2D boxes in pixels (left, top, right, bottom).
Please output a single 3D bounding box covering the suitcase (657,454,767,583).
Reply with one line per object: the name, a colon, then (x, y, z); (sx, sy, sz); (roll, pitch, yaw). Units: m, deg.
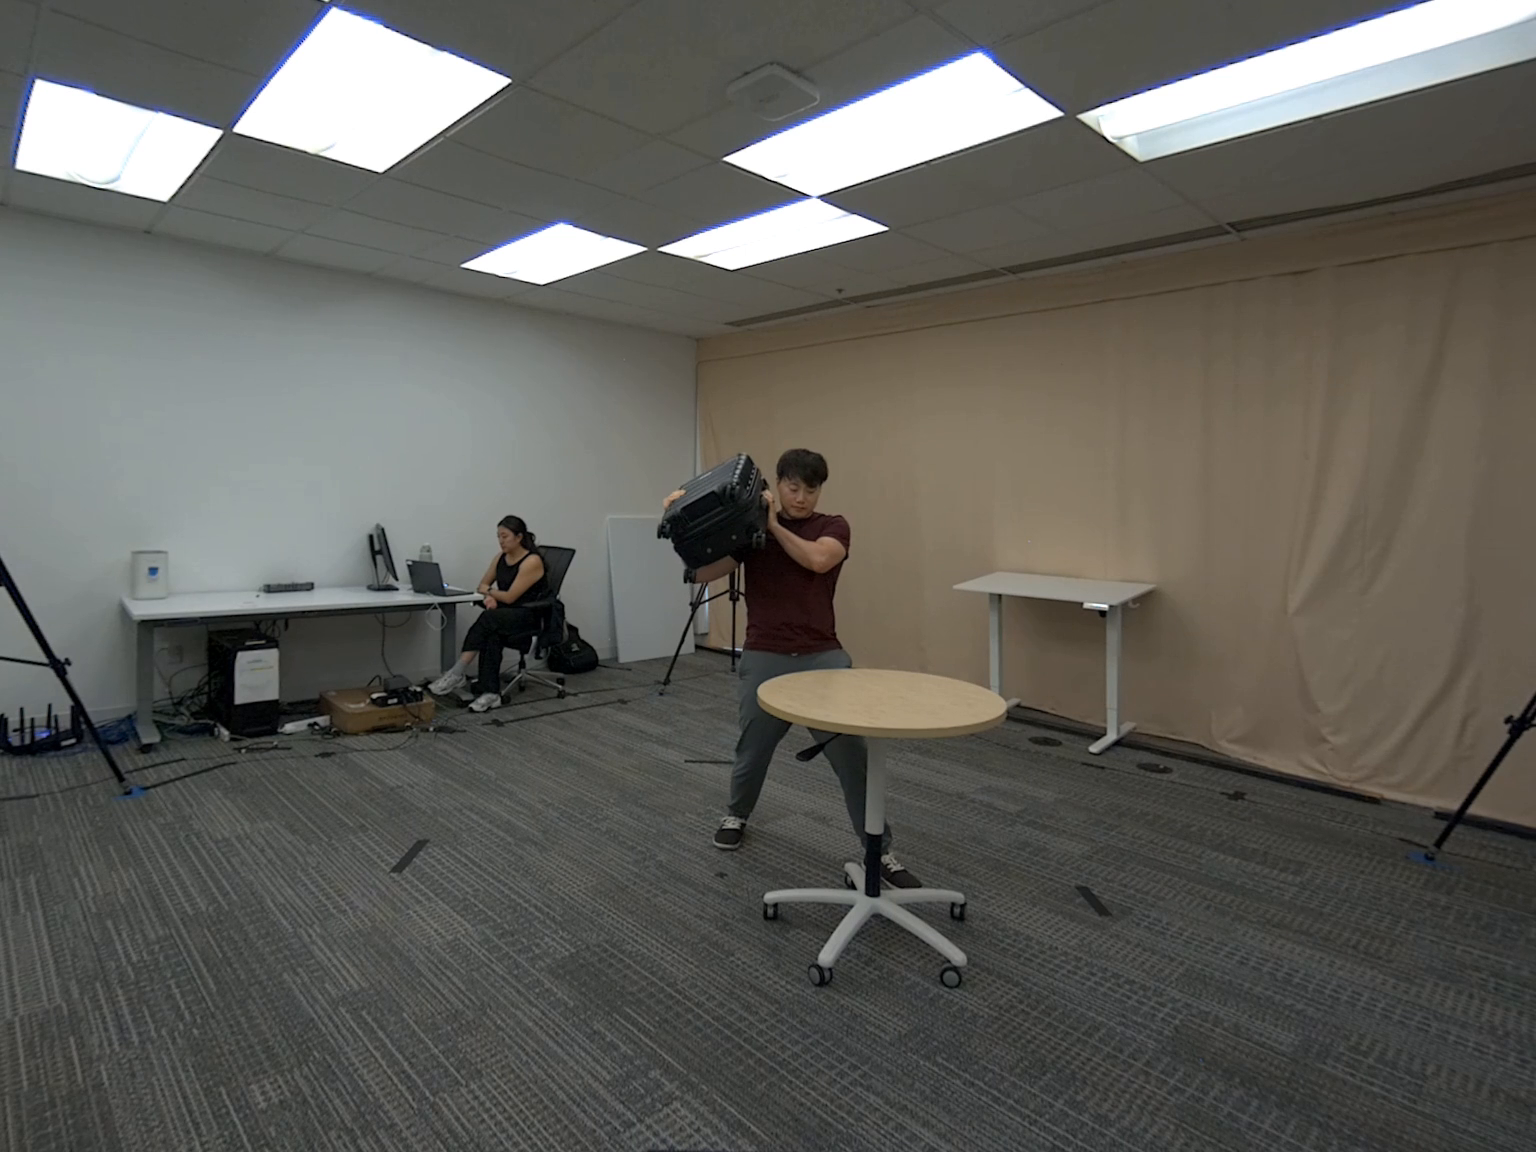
suitcase: (-0.189, -0.330, 3.436); (0.386, 0.252, 0.991); (-29, 19, 14)
